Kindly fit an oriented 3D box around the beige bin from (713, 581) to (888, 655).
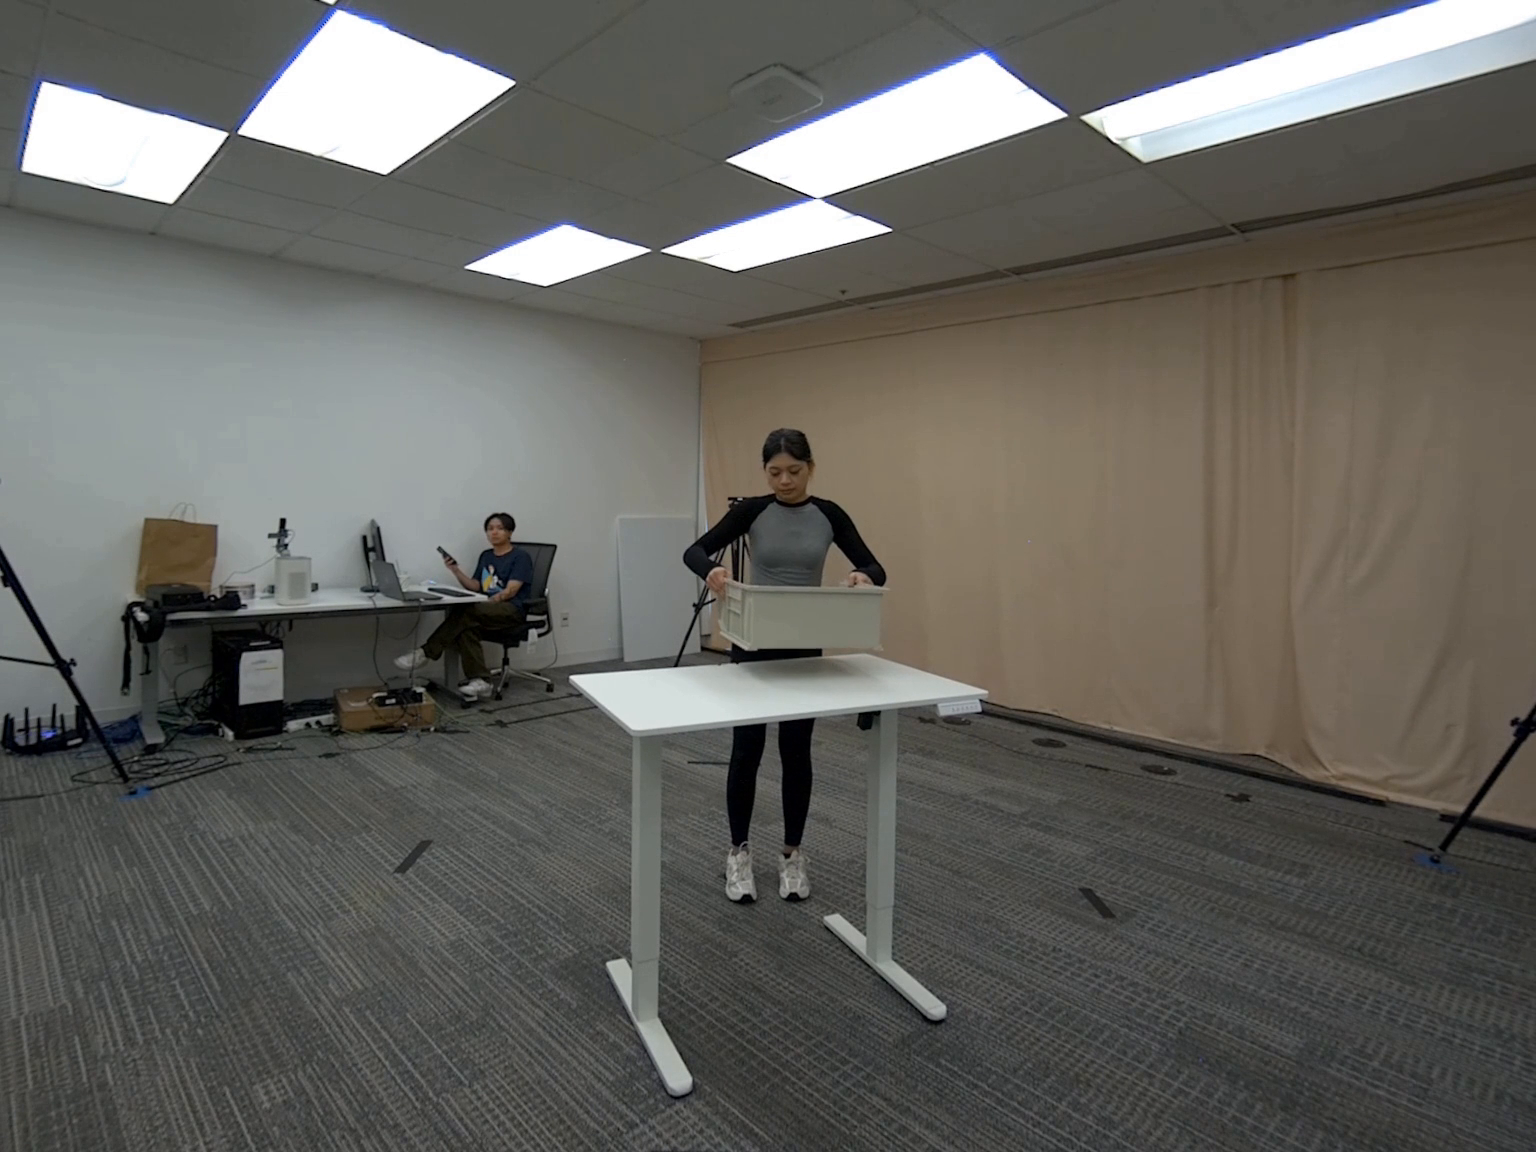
[{"bbox_3d":[0.086,0.105,2.527,0.418,0.188,0.383,2,6,-14],"label":"beige bin"}]
